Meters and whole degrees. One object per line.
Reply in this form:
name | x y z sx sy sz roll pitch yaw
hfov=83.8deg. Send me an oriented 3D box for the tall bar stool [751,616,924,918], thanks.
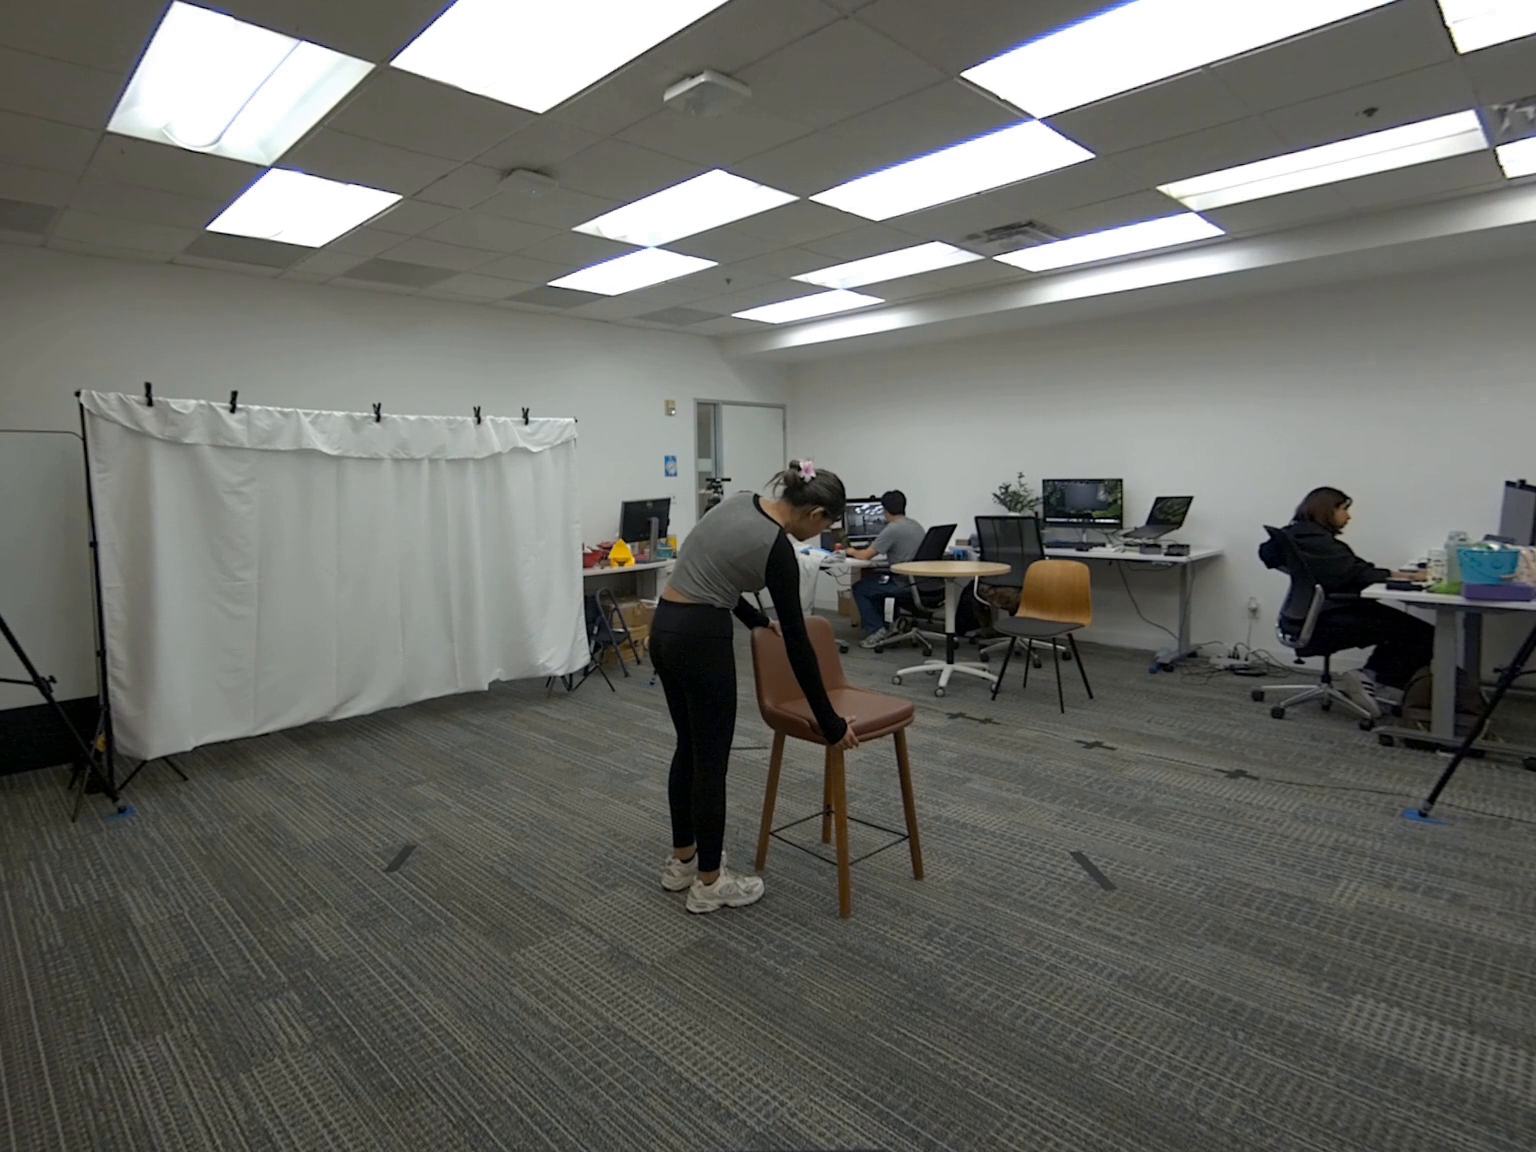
tall bar stool | 0.235 0.613 2.987 0.444 0.888 0.481 -5 3 -42
